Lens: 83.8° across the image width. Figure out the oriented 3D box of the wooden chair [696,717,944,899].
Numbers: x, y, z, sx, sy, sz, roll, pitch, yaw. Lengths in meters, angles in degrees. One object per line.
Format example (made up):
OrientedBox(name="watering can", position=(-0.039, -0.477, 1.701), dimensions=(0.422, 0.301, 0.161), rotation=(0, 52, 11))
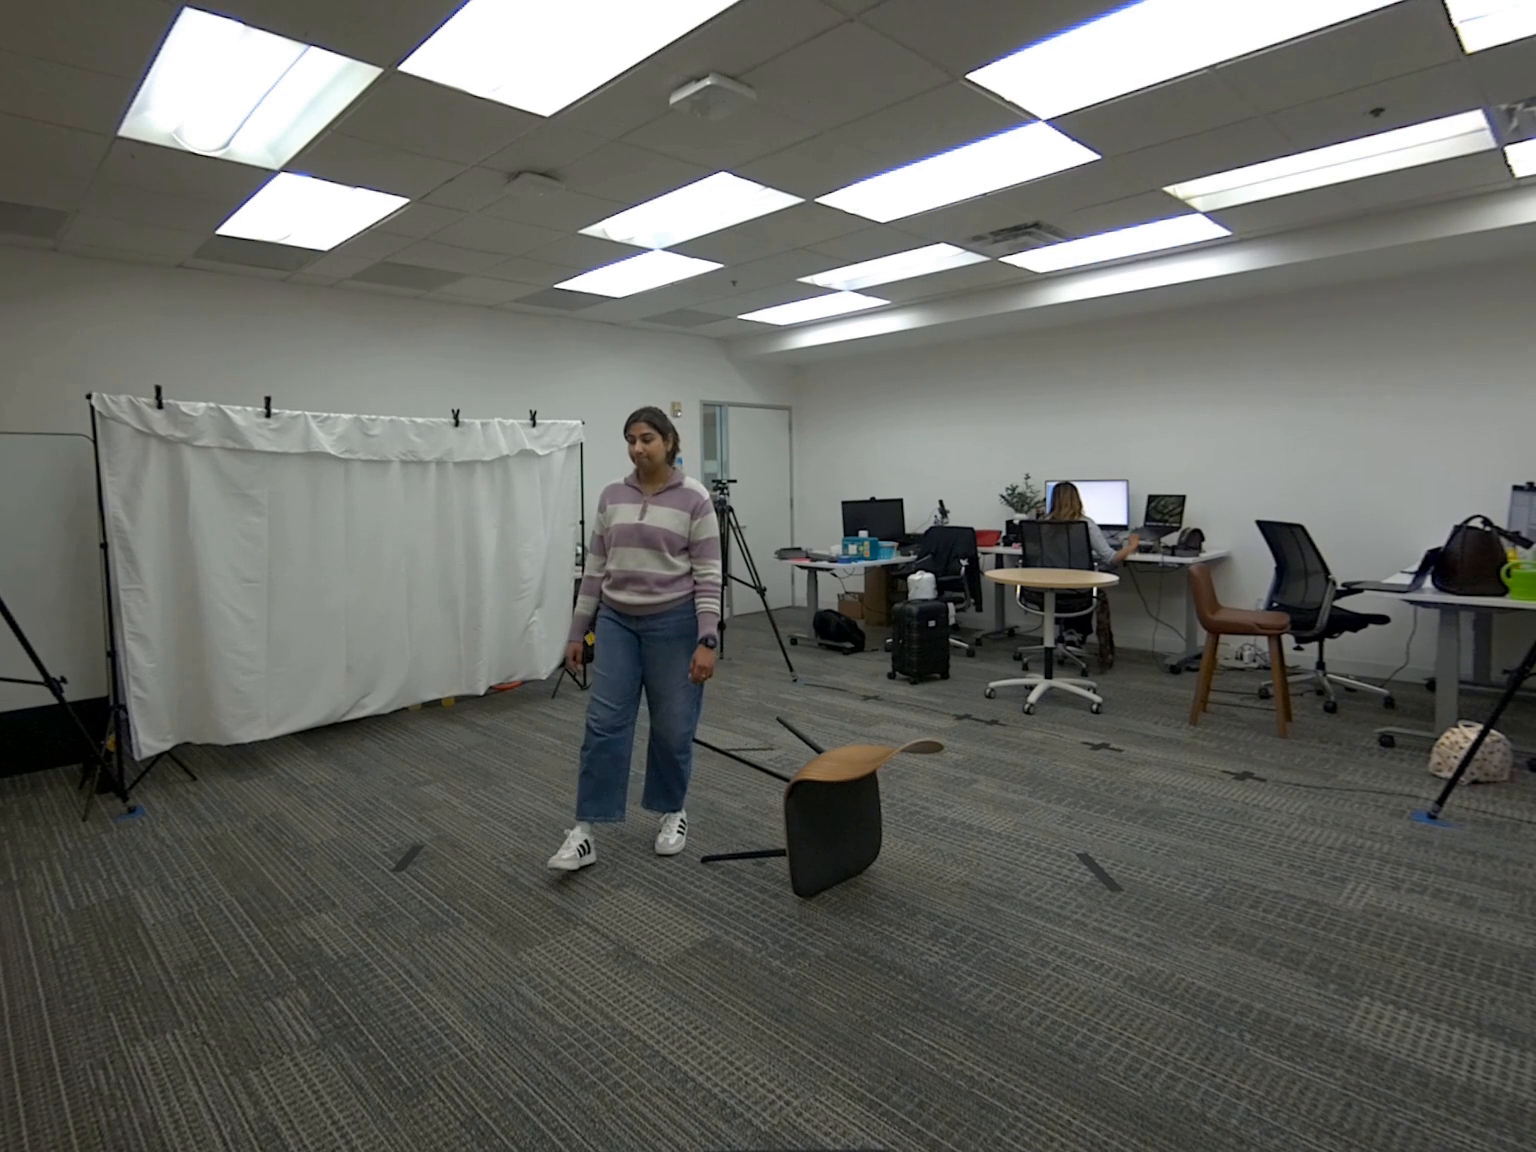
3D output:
OrientedBox(name="wooden chair", position=(0.197, 0.807, 2.949), dimensions=(0.465, 0.525, 0.899), rotation=(-4, -3, -42))
